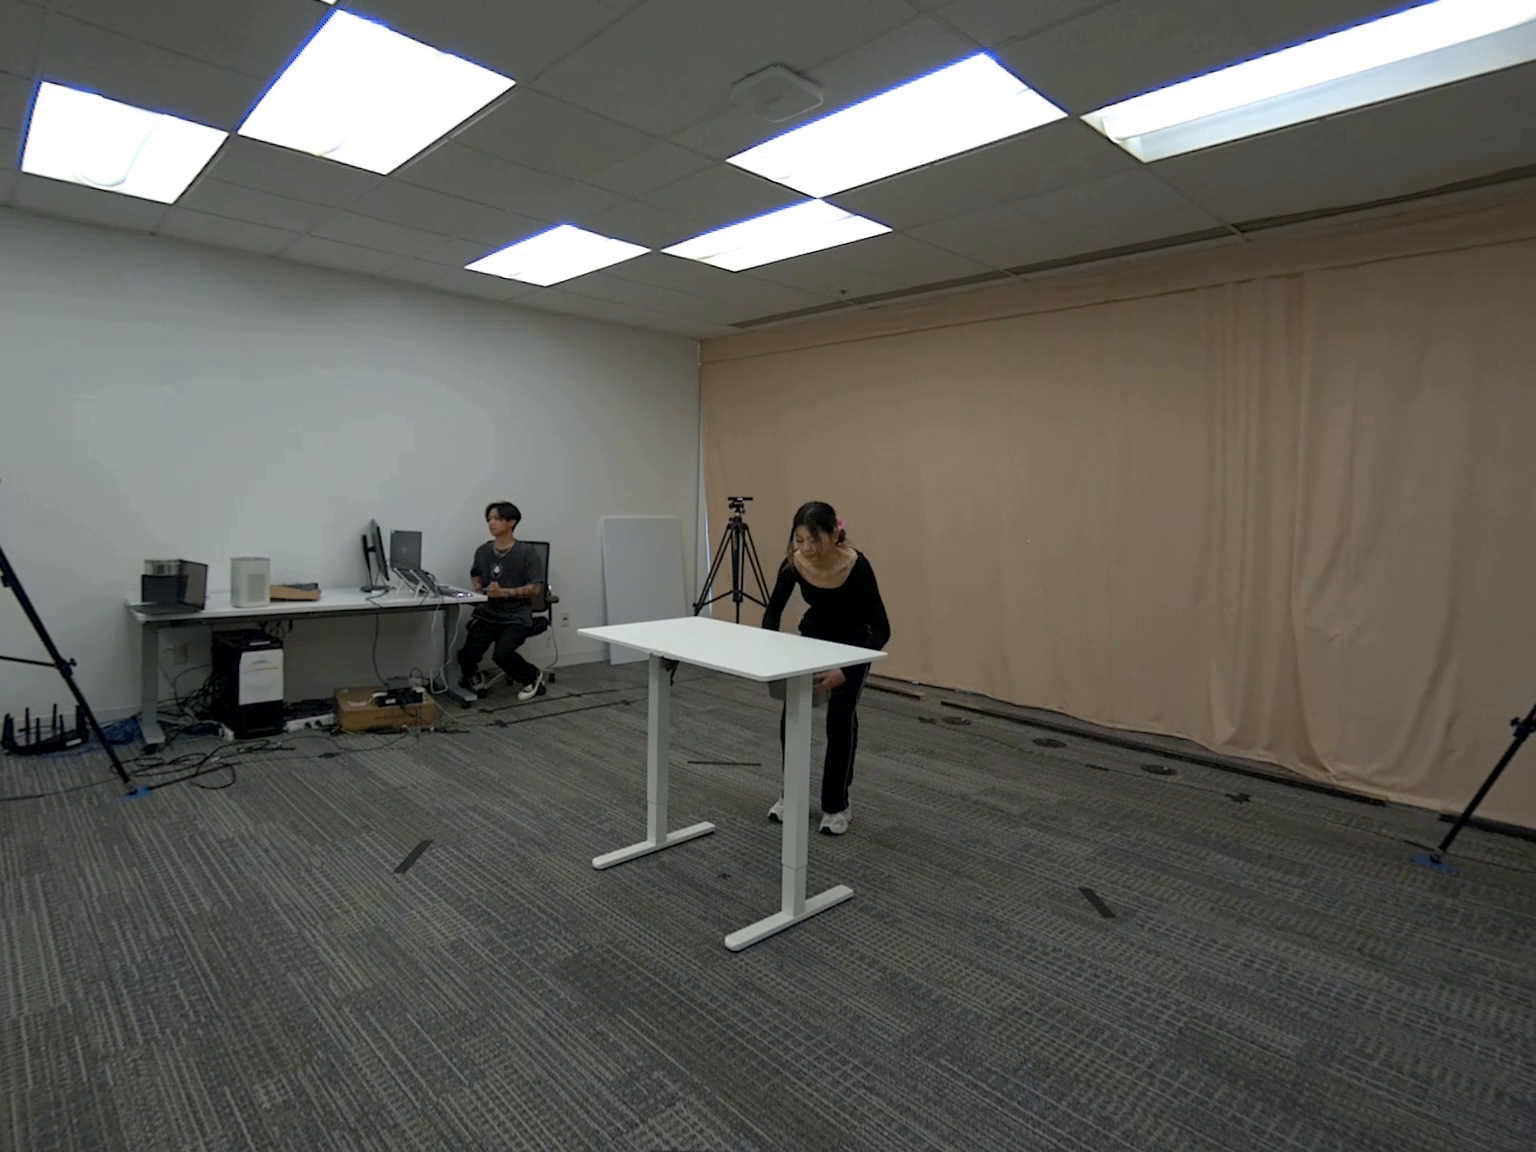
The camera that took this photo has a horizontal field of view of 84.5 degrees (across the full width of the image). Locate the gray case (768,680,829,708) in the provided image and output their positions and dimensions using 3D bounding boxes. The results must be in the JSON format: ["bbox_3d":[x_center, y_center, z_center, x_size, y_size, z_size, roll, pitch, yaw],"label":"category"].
[{"bbox_3d":[0.128,0.386,3.407,0.262,0.257,0.103,1,19,32],"label":"gray case"}]
